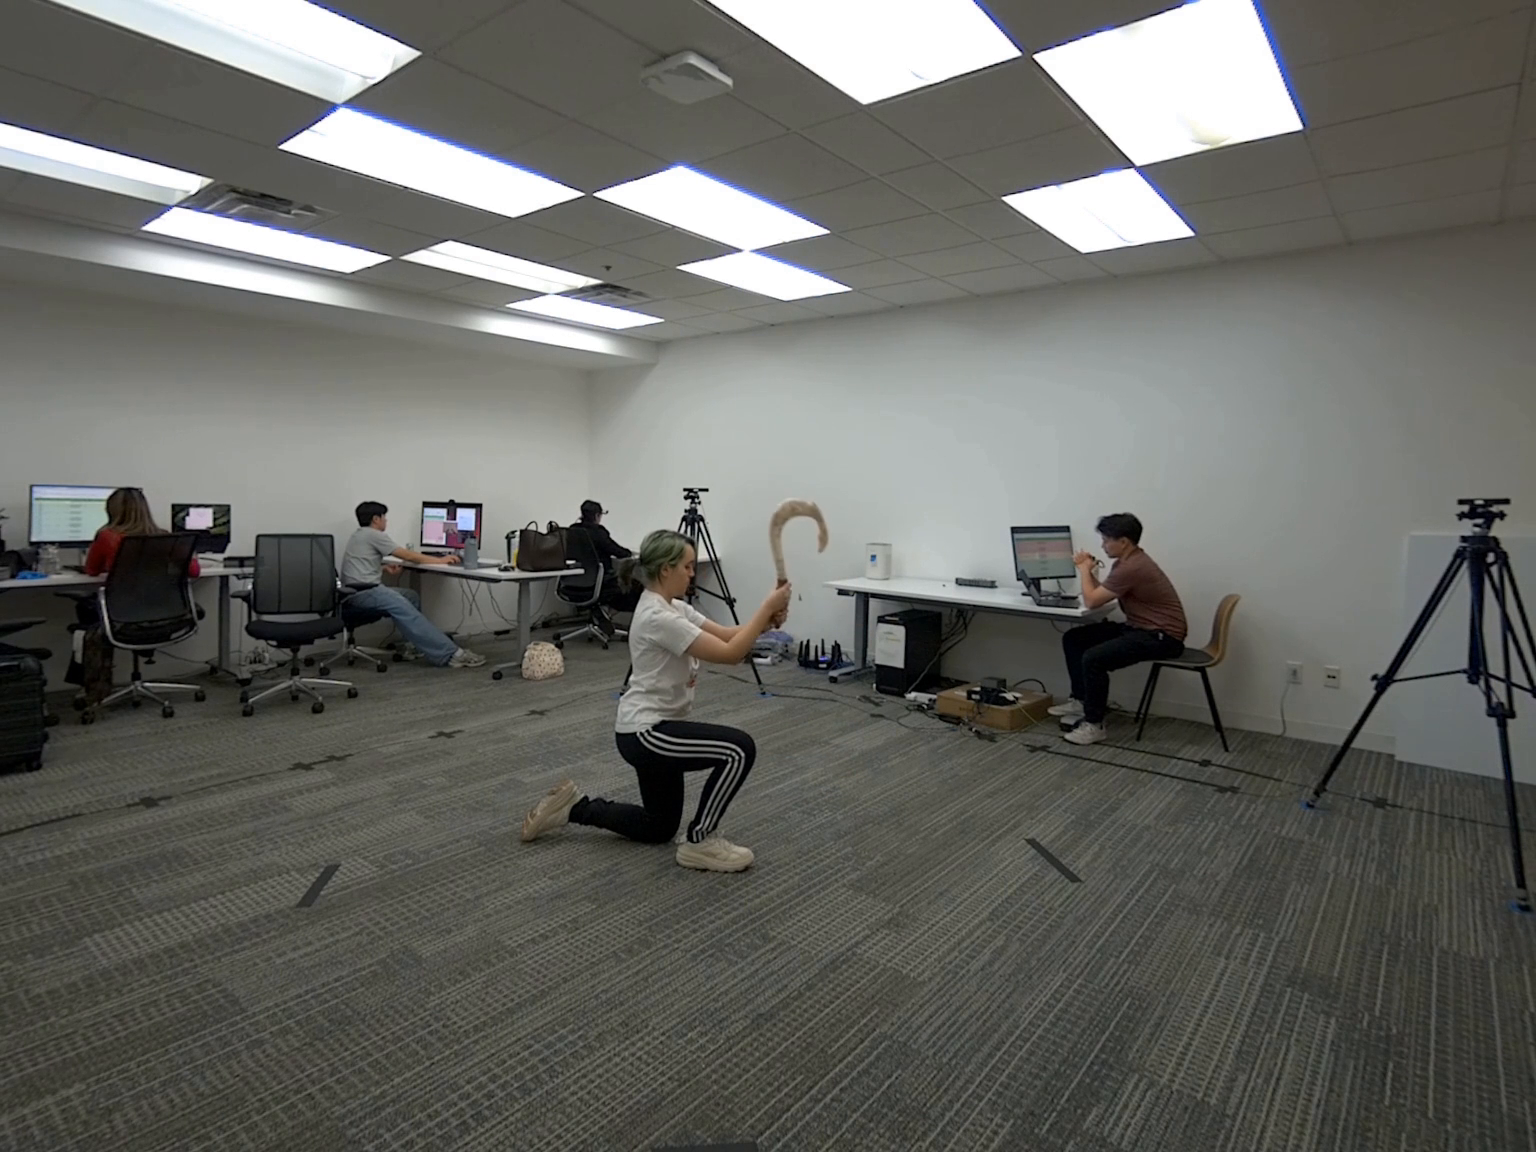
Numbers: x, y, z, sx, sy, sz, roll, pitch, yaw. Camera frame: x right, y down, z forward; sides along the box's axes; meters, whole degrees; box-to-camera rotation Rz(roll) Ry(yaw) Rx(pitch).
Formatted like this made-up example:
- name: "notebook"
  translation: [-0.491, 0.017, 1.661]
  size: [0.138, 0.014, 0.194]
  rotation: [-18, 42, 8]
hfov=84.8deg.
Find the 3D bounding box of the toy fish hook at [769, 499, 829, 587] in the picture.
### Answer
- name: "toy fish hook"
  translation: [0.088, -0.028, 3.239]
  size: [0.228, 0.503, 0.048]
  rotation: [7, 8, 12]
